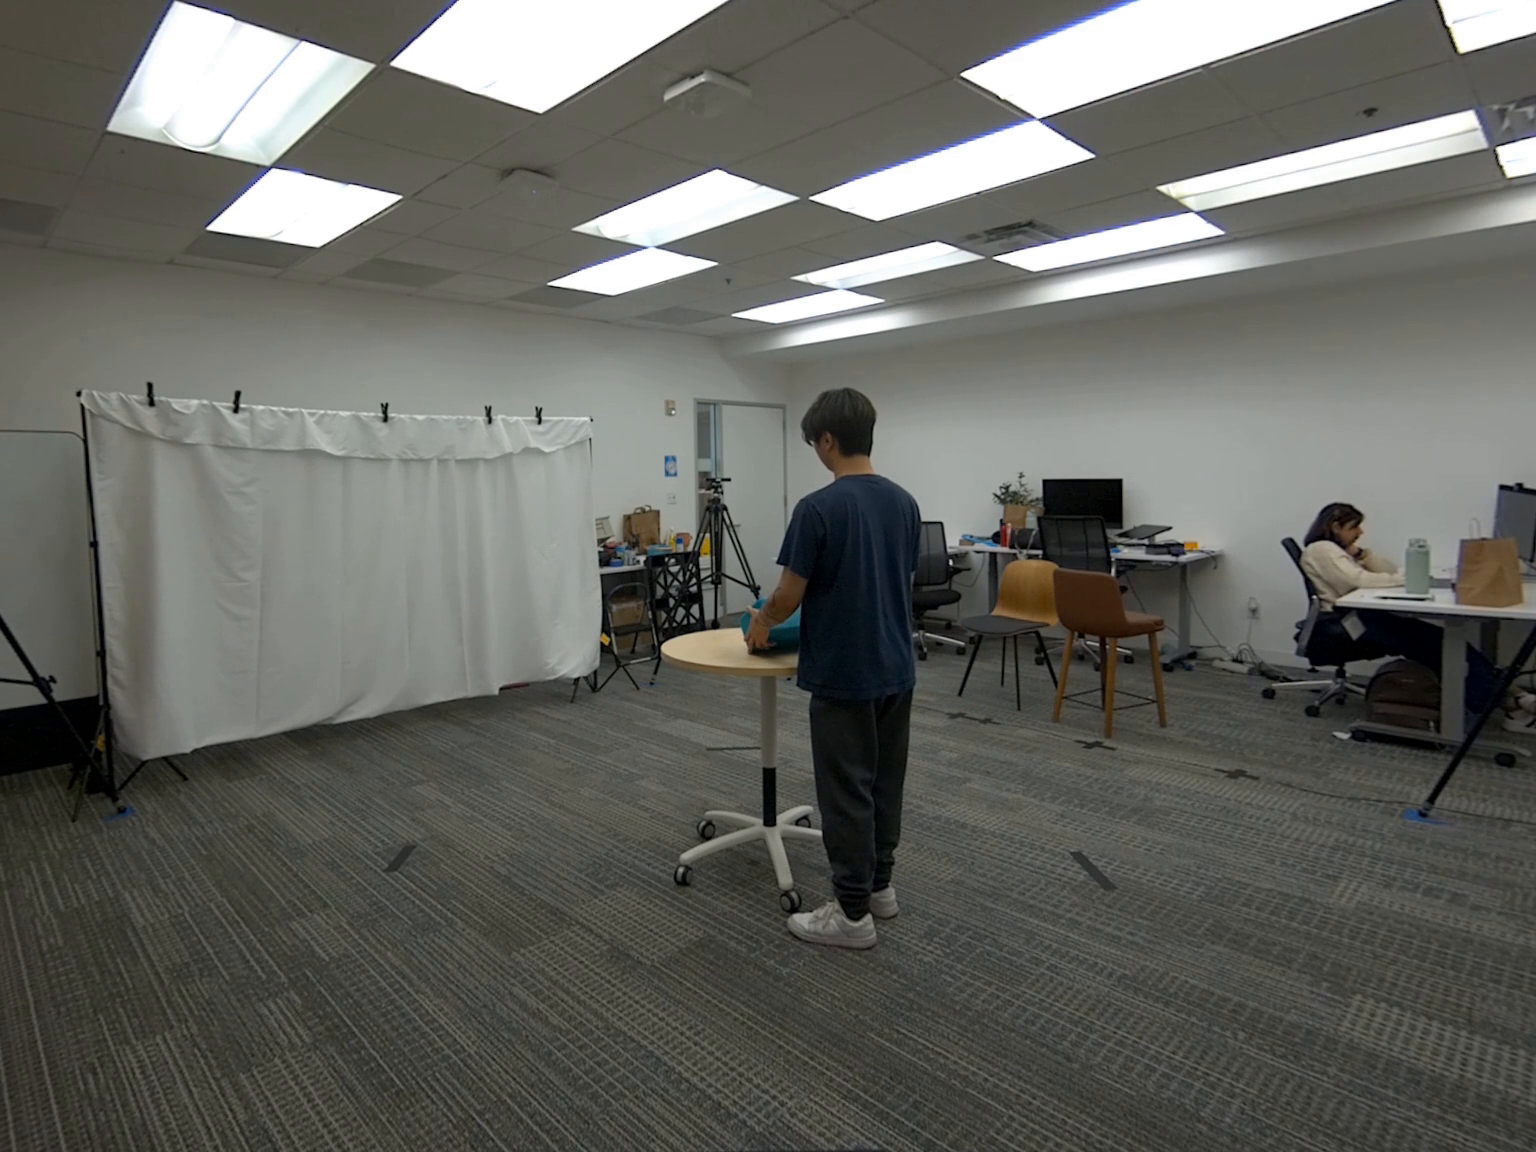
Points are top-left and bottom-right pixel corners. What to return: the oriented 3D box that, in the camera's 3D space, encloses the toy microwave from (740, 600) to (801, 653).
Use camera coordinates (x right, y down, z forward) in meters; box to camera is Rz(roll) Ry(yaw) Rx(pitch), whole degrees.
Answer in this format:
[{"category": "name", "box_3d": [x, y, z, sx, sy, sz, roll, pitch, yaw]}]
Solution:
[{"category": "toy microwave", "box_3d": [0.061, 0.153, 2.968, 0.279, 0.156, 0.184, -4, -28, -31]}]
